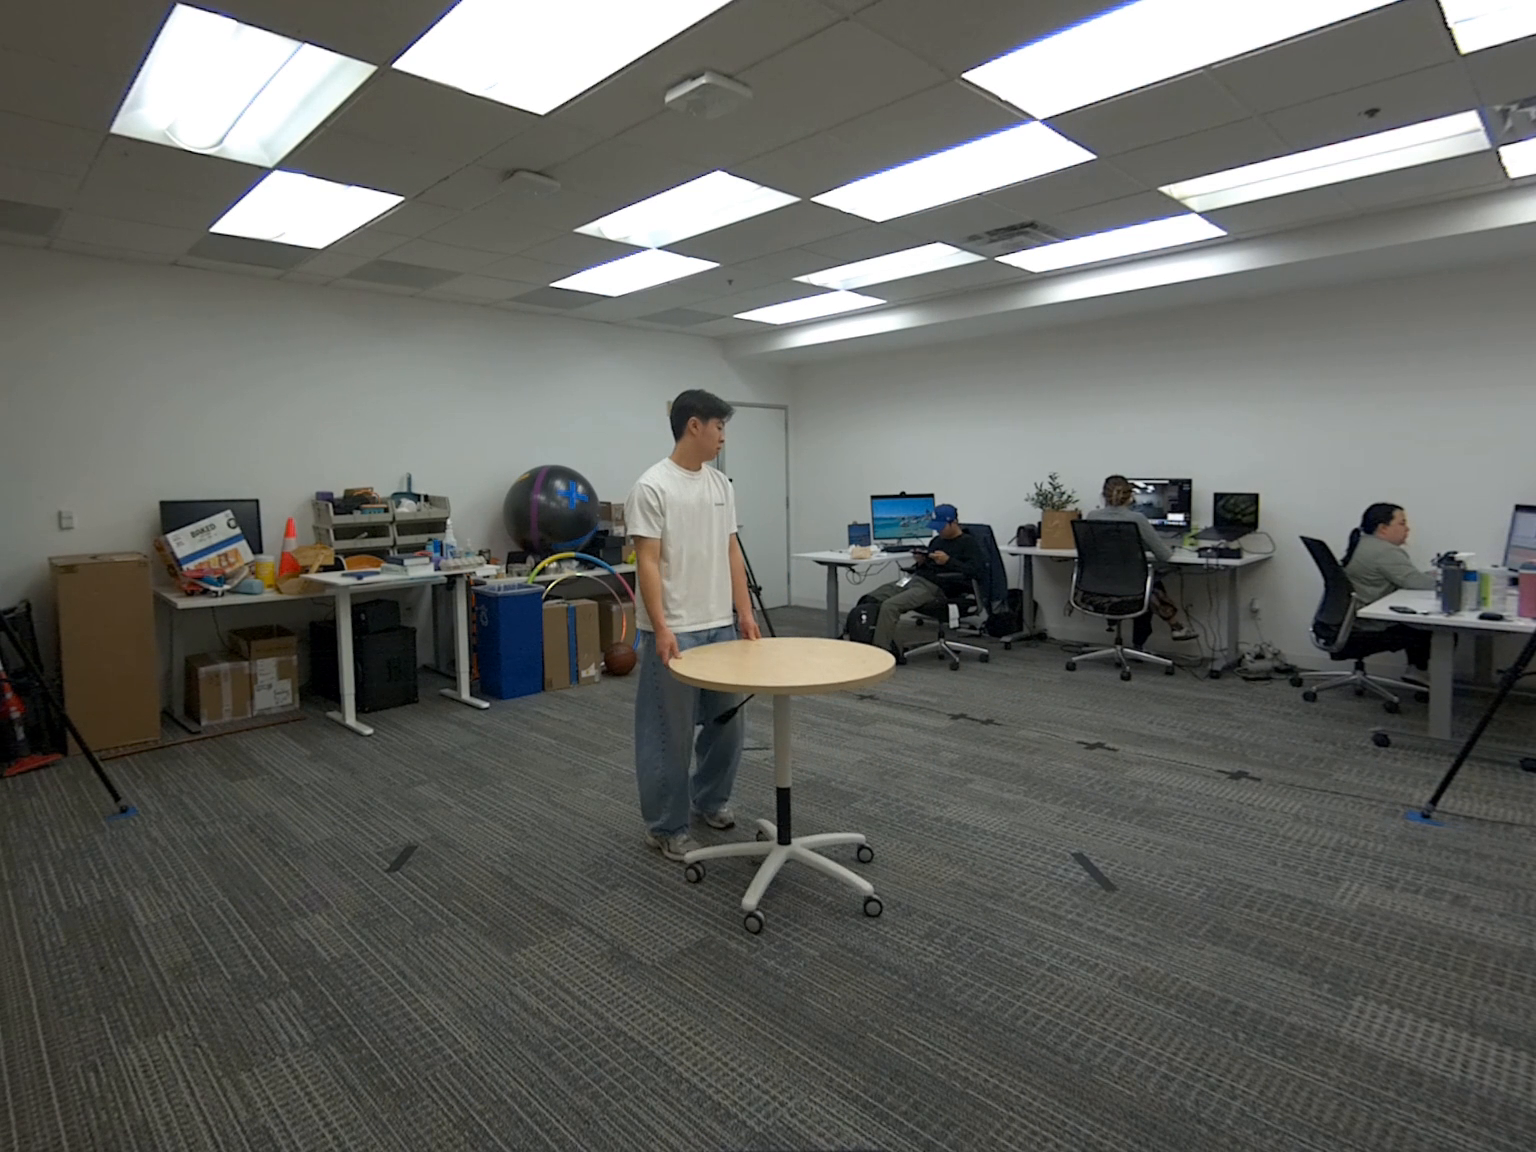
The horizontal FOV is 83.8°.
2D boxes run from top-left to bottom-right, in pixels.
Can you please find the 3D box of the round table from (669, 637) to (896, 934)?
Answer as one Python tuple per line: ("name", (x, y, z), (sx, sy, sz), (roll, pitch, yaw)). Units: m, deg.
("round table", (0.060, 0.676, 2.931), (0.763, 0.791, 0.768), (-1, 5, -2))
